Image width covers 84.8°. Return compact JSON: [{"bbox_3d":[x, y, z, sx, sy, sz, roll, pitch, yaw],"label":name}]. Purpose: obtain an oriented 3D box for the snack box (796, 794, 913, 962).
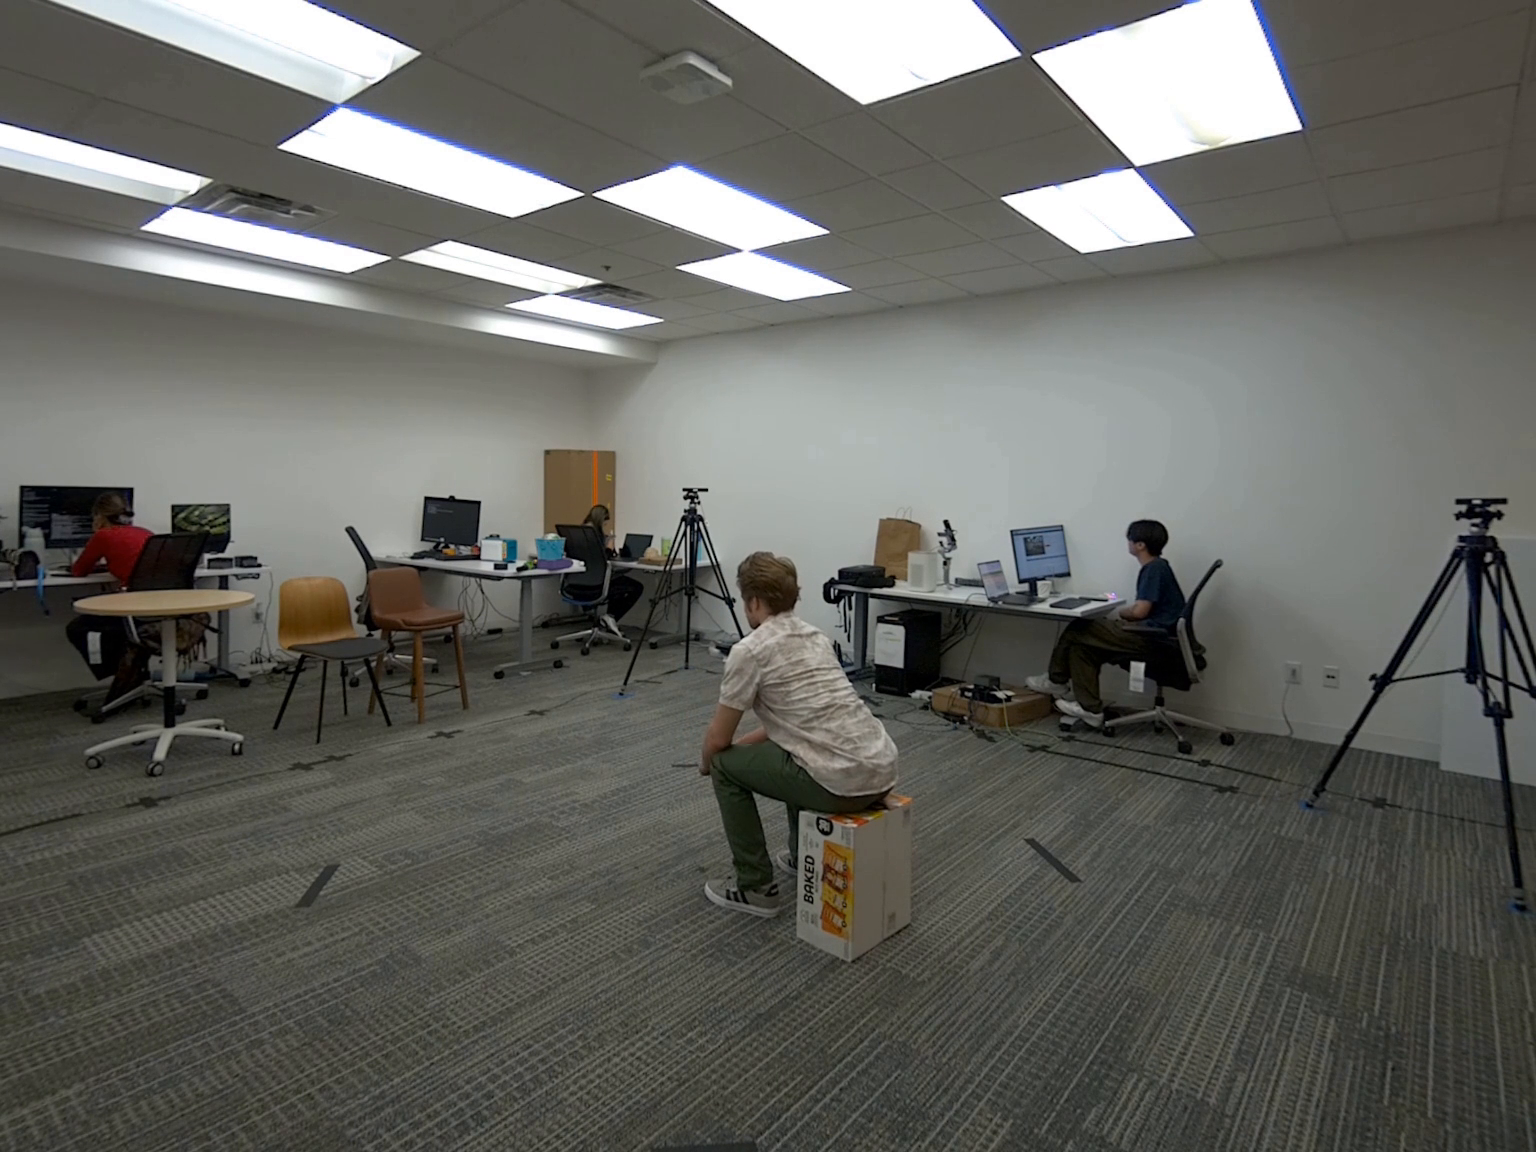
[{"bbox_3d":[0.275,0.921,2.690,0.212,0.404,0.330,2,3,42],"label":"snack box"}]
